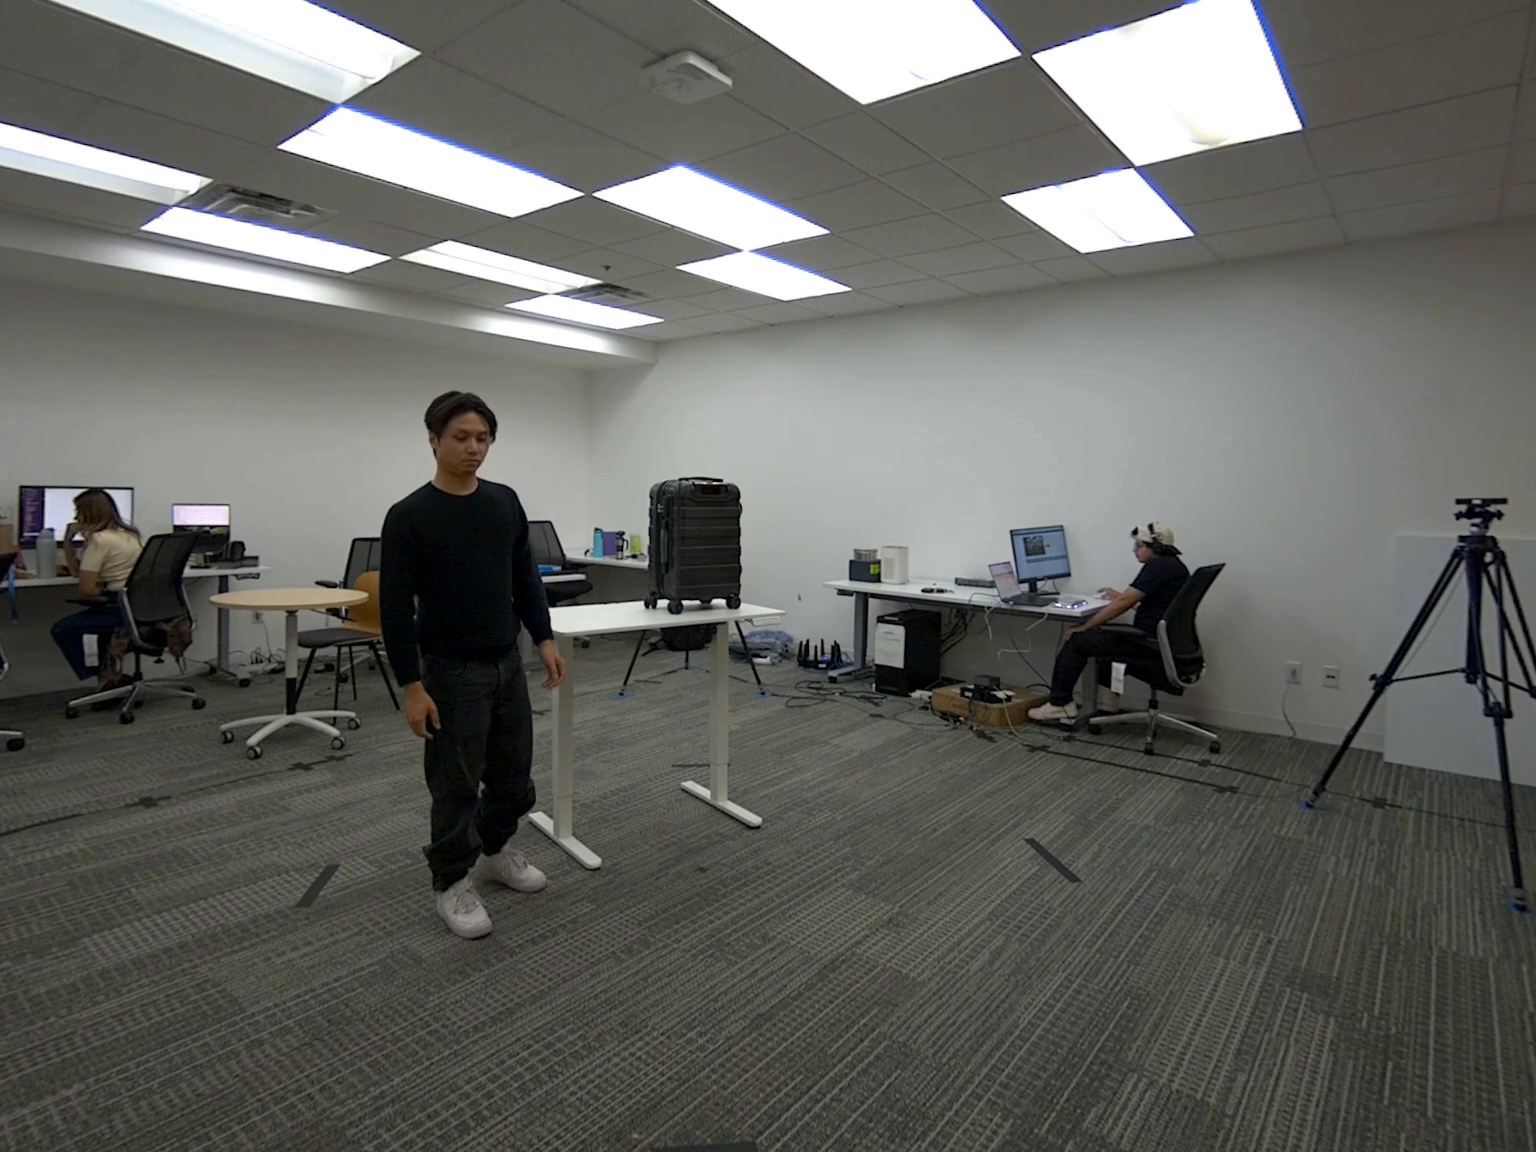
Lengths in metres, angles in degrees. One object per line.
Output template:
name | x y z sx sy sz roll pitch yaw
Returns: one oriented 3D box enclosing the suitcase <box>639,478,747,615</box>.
suitcase | -0.322 -0.142 3.597 0.364 0.548 0.256 -3 4 -37
